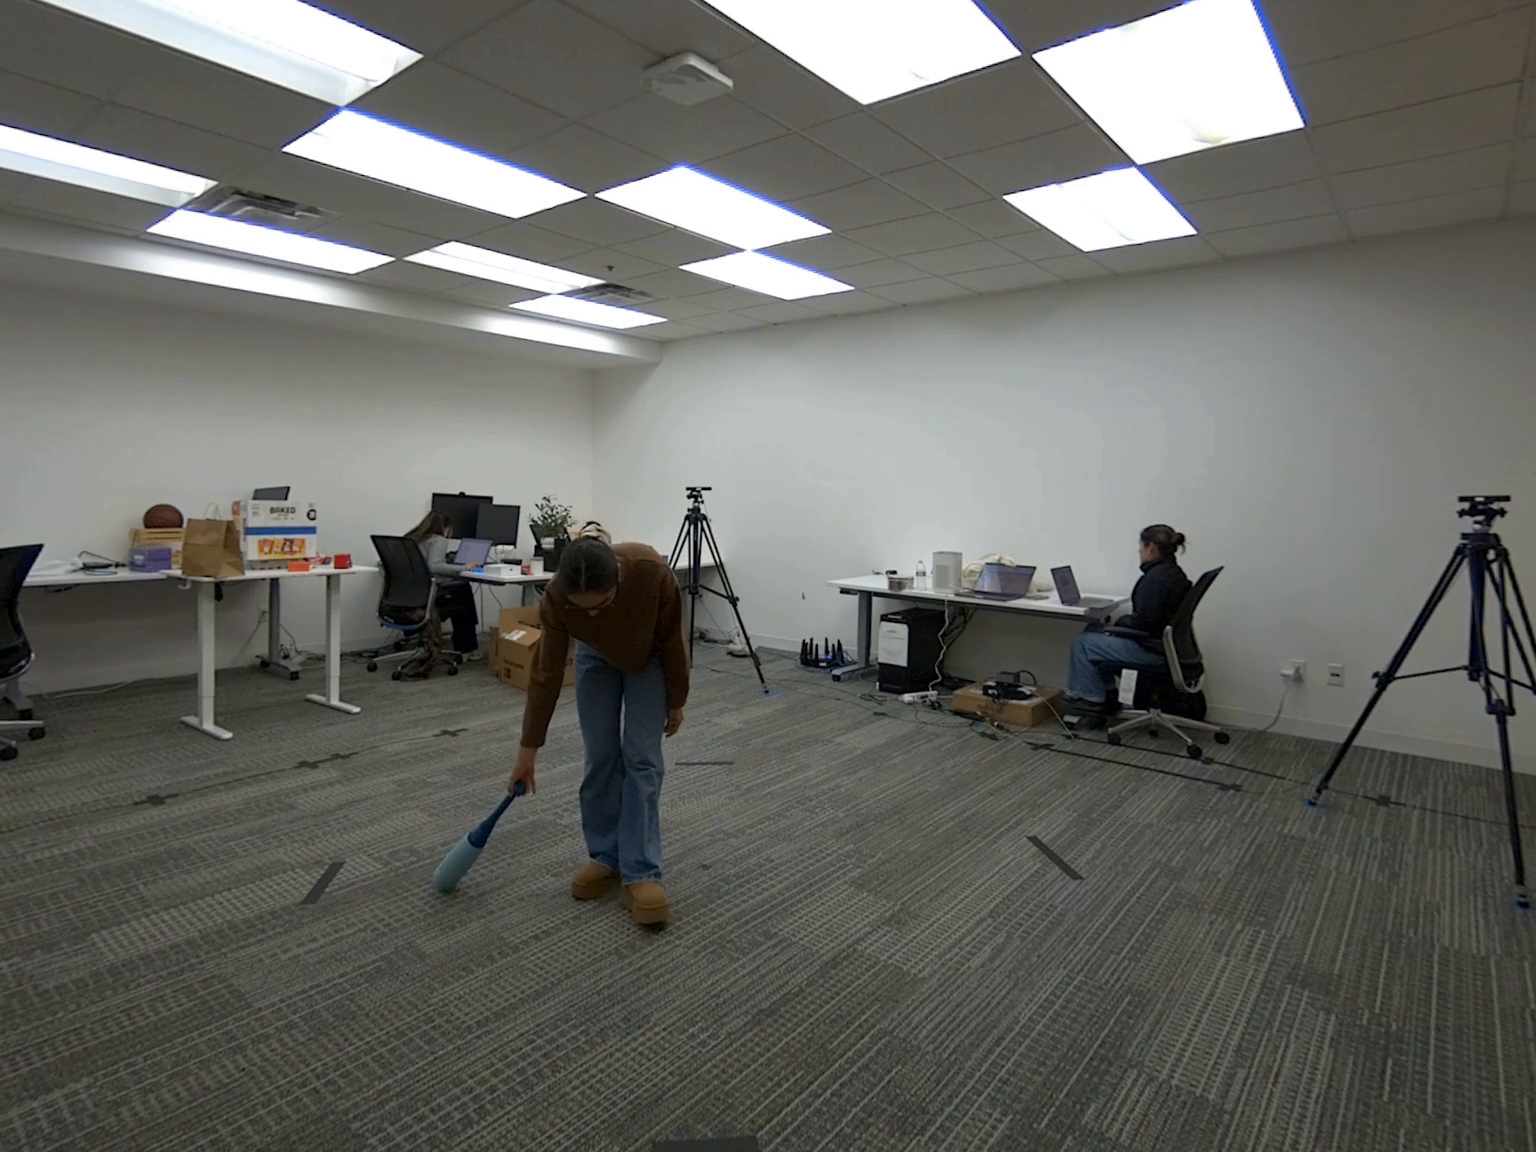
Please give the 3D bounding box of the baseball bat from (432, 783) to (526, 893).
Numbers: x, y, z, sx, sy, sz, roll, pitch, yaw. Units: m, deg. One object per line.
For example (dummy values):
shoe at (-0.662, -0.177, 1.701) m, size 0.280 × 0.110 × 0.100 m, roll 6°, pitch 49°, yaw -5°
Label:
baseball bat at (-0.967, 0.865, 2.830) m, size 0.087 × 0.543 × 0.091 m, roll 34°, pitch 23°, yaw -19°
